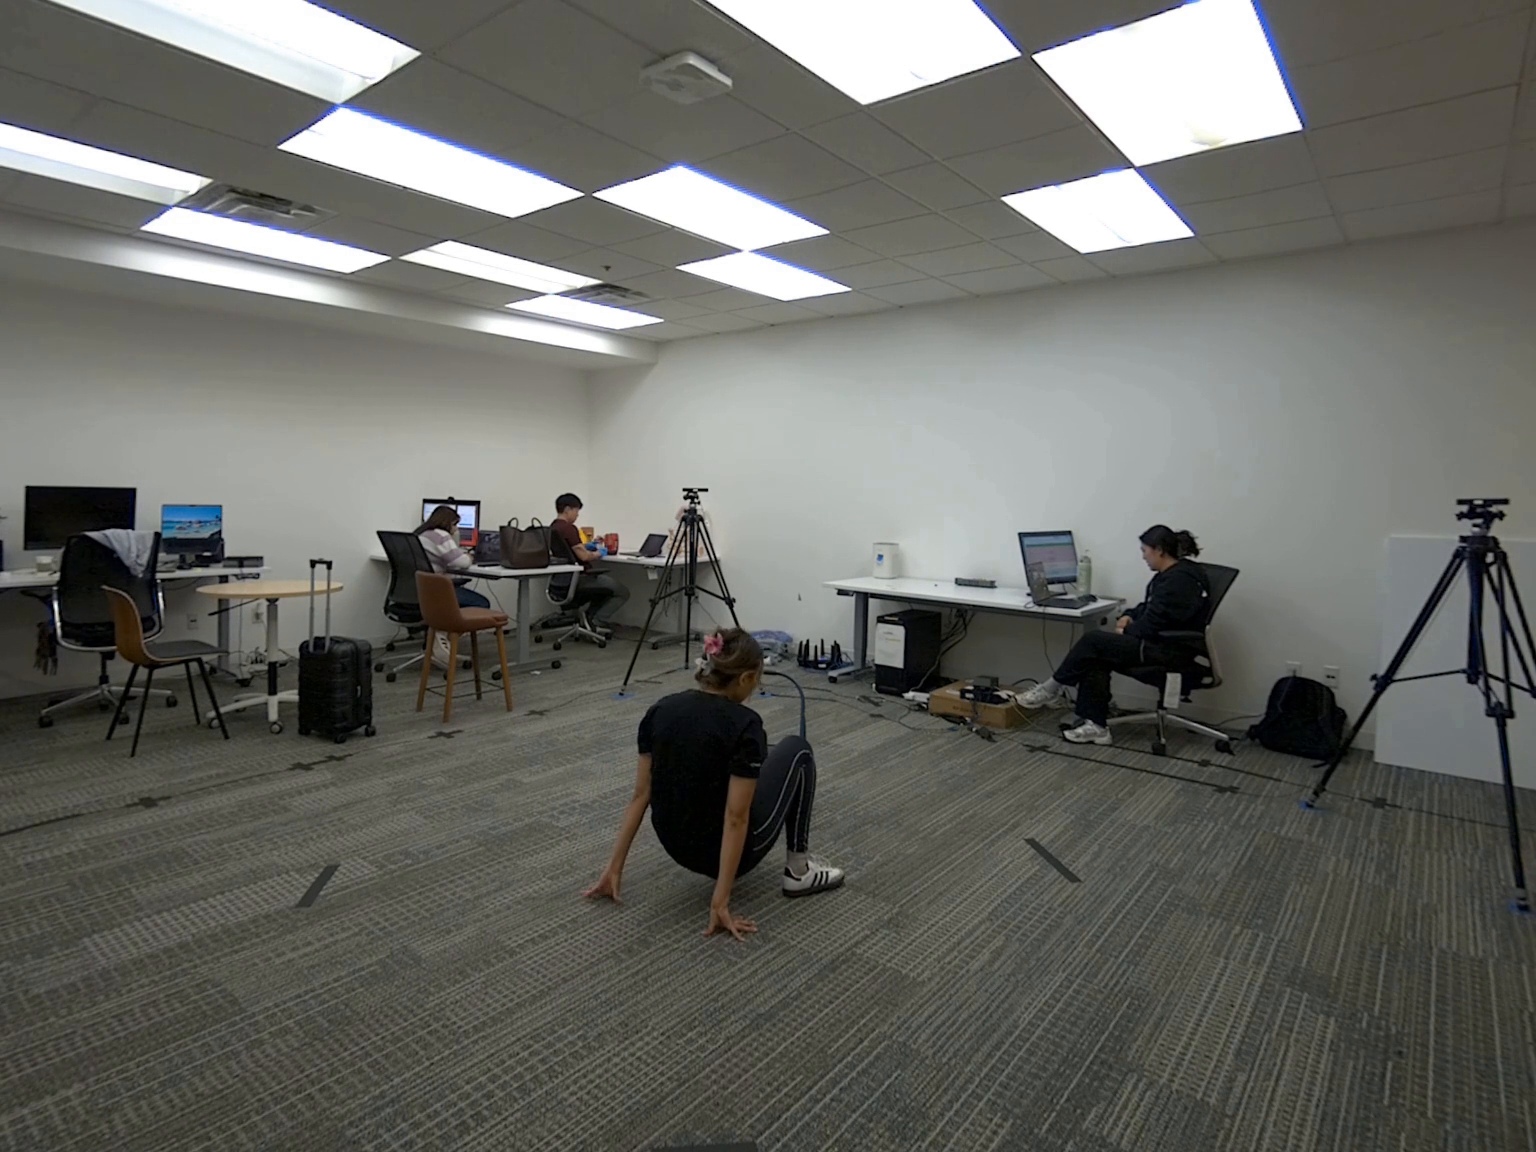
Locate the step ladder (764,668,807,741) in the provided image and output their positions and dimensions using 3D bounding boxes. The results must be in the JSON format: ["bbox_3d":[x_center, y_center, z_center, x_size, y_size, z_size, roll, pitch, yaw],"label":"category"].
[{"bbox_3d":[-0.051,0.711,3.656,0.436,0.604,0.346,2,3,10],"label":"step ladder"}]
